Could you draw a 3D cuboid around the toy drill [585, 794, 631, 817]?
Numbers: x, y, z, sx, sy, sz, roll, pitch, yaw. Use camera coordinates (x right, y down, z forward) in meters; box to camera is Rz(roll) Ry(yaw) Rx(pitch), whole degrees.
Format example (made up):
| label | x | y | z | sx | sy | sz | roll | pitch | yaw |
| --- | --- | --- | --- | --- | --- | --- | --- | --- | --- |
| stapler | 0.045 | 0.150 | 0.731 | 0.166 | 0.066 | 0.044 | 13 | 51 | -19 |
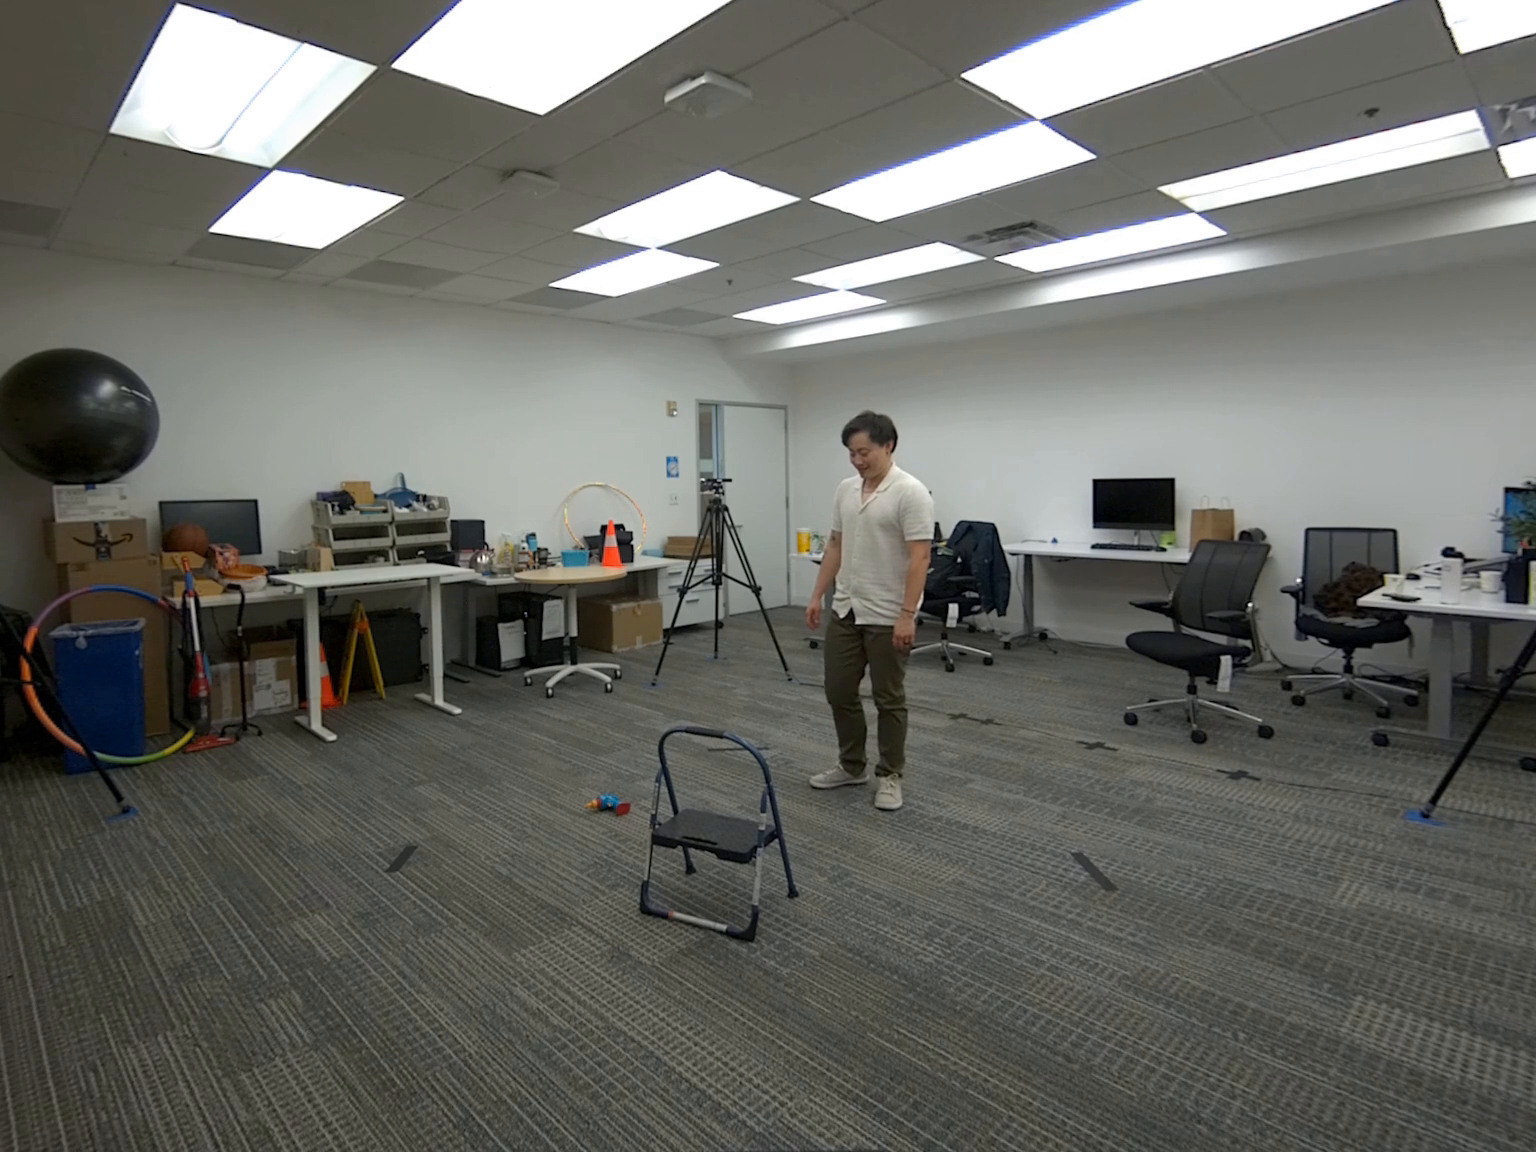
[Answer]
| label | x | y | z | sx | sy | sz | roll | pitch | yaw |
| --- | --- | --- | --- | --- | --- | --- | --- | --- | --- |
| toy drill | -0.683 | 0.969 | 3.620 | 0.165 | 0.061 | 0.151 | 2 | 4 | -41 |
